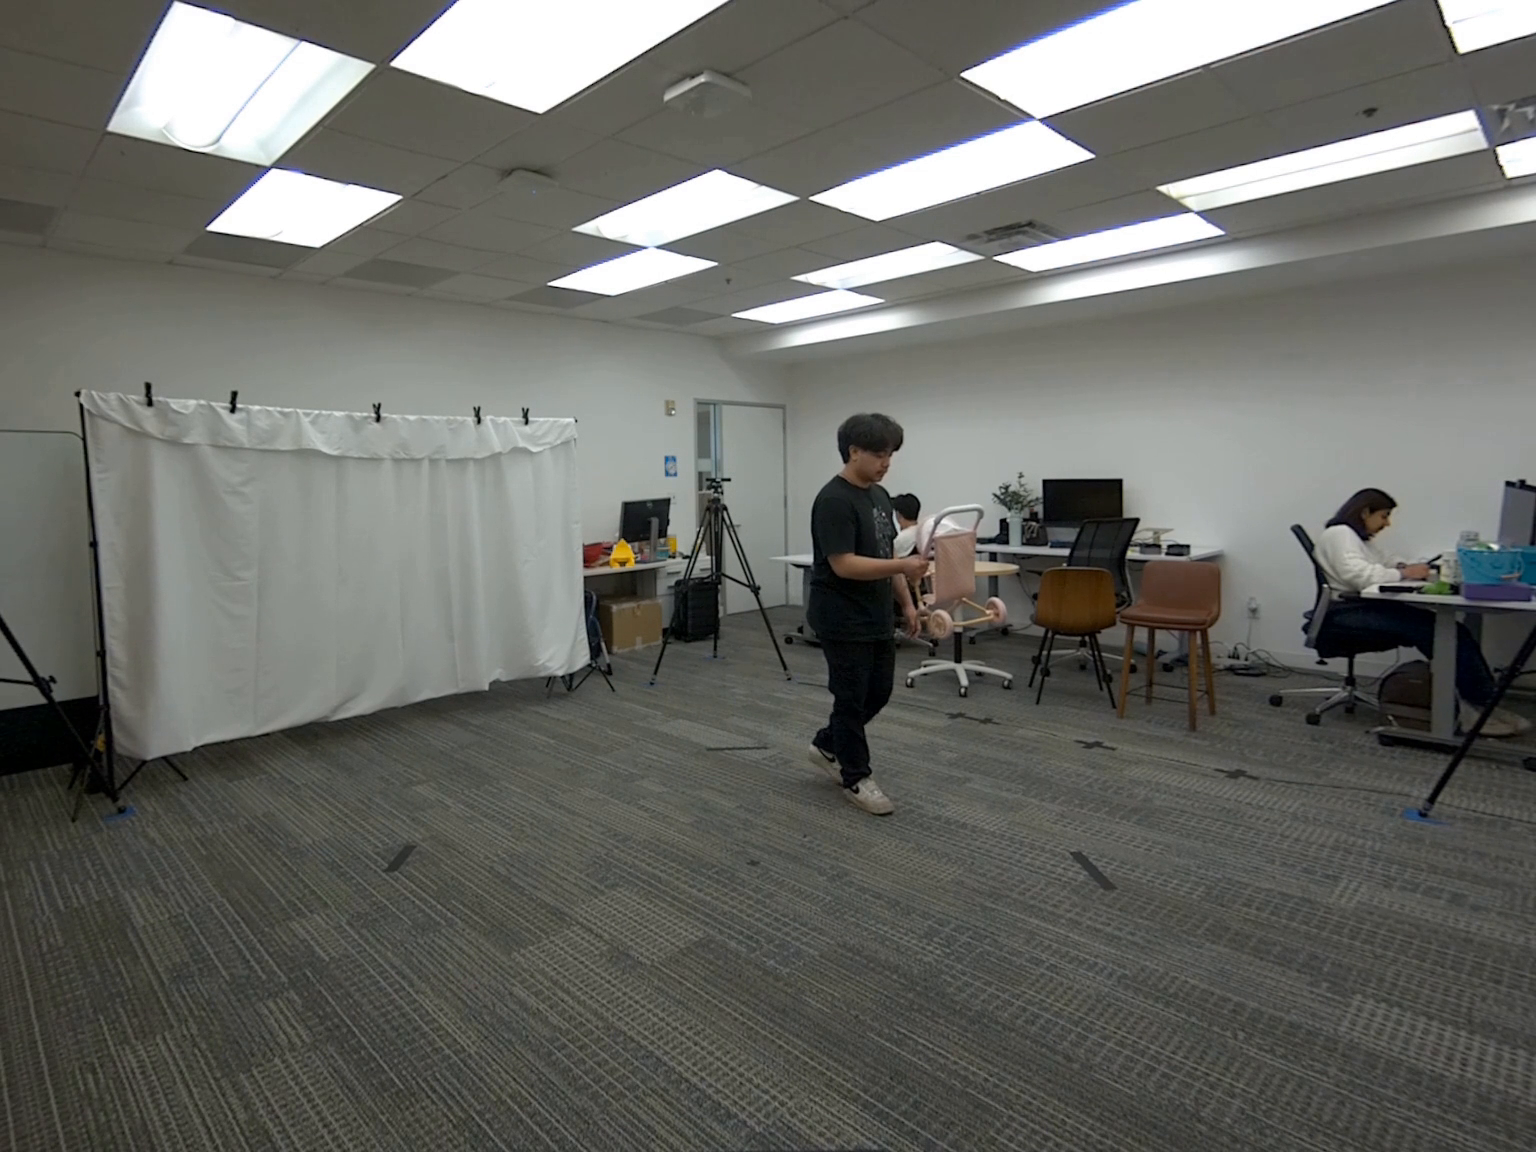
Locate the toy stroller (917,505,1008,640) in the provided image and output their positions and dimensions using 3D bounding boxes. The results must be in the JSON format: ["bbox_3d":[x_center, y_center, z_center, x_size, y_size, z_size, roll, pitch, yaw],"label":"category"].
[{"bbox_3d":[0.688,-0.001,3.285,0.278,0.532,0.348,-10,5,-18],"label":"toy stroller"}]
